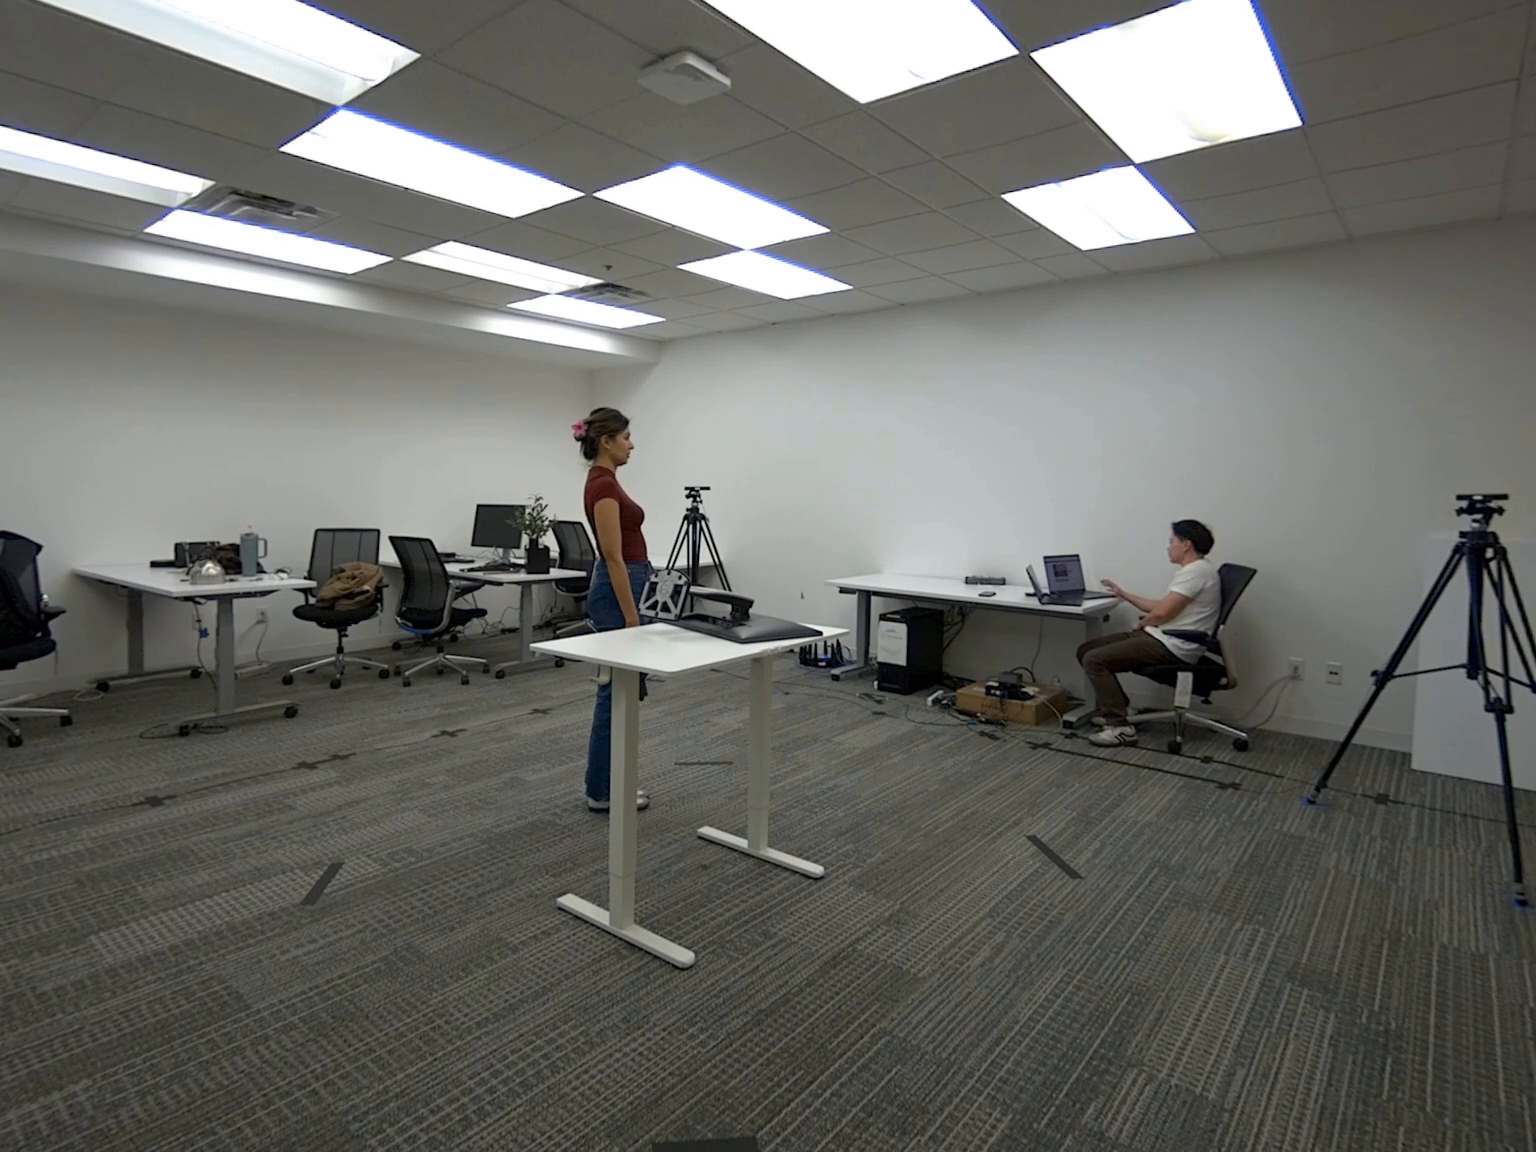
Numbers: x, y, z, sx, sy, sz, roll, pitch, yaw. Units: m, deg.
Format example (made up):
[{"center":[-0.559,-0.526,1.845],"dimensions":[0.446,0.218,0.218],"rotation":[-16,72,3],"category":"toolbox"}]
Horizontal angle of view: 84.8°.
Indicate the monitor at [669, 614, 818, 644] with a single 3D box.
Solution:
[{"center":[-0.178,0.125,3.045],"dimensions":[0.504,0.188,0.557],"rotation":[18,-6,-35],"category":"monitor"}]
